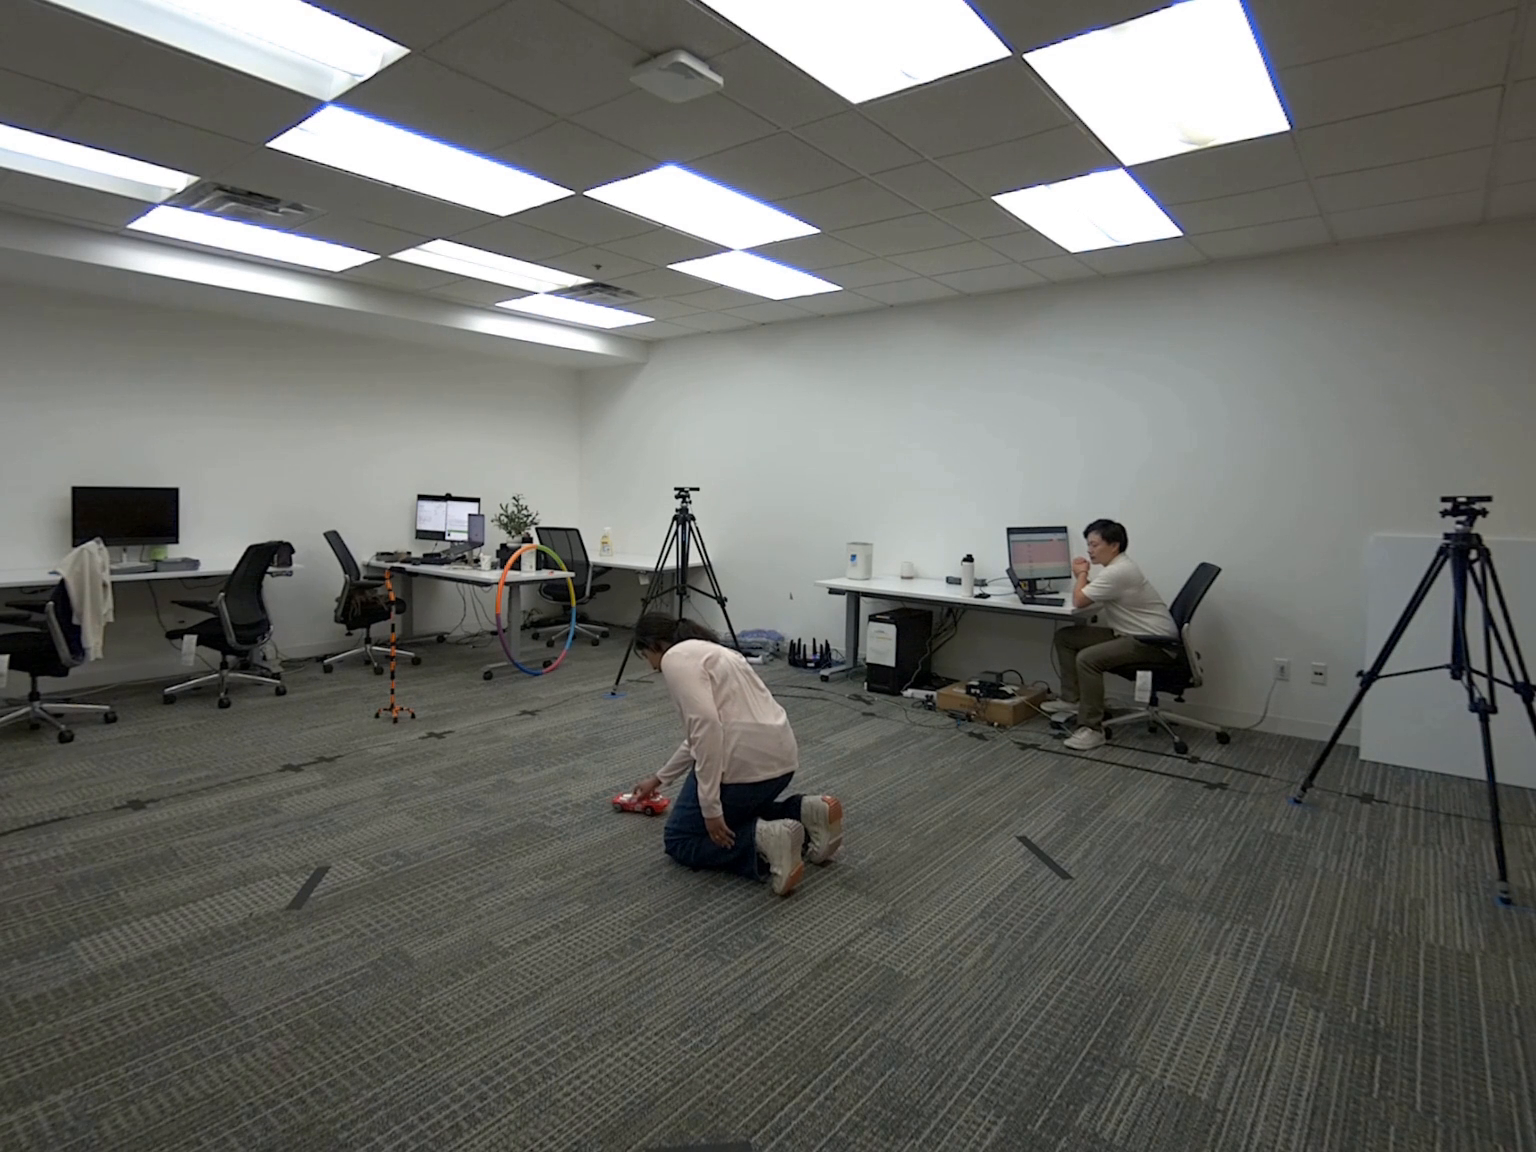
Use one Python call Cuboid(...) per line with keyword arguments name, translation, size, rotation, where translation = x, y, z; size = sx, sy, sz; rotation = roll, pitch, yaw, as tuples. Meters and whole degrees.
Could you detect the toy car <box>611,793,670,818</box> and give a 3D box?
Cuboid(name="toy car", translation=(-0.553, 0.978, 3.663), size=(0.258, 0.083, 0.128), rotation=(-8, 3, 16))
